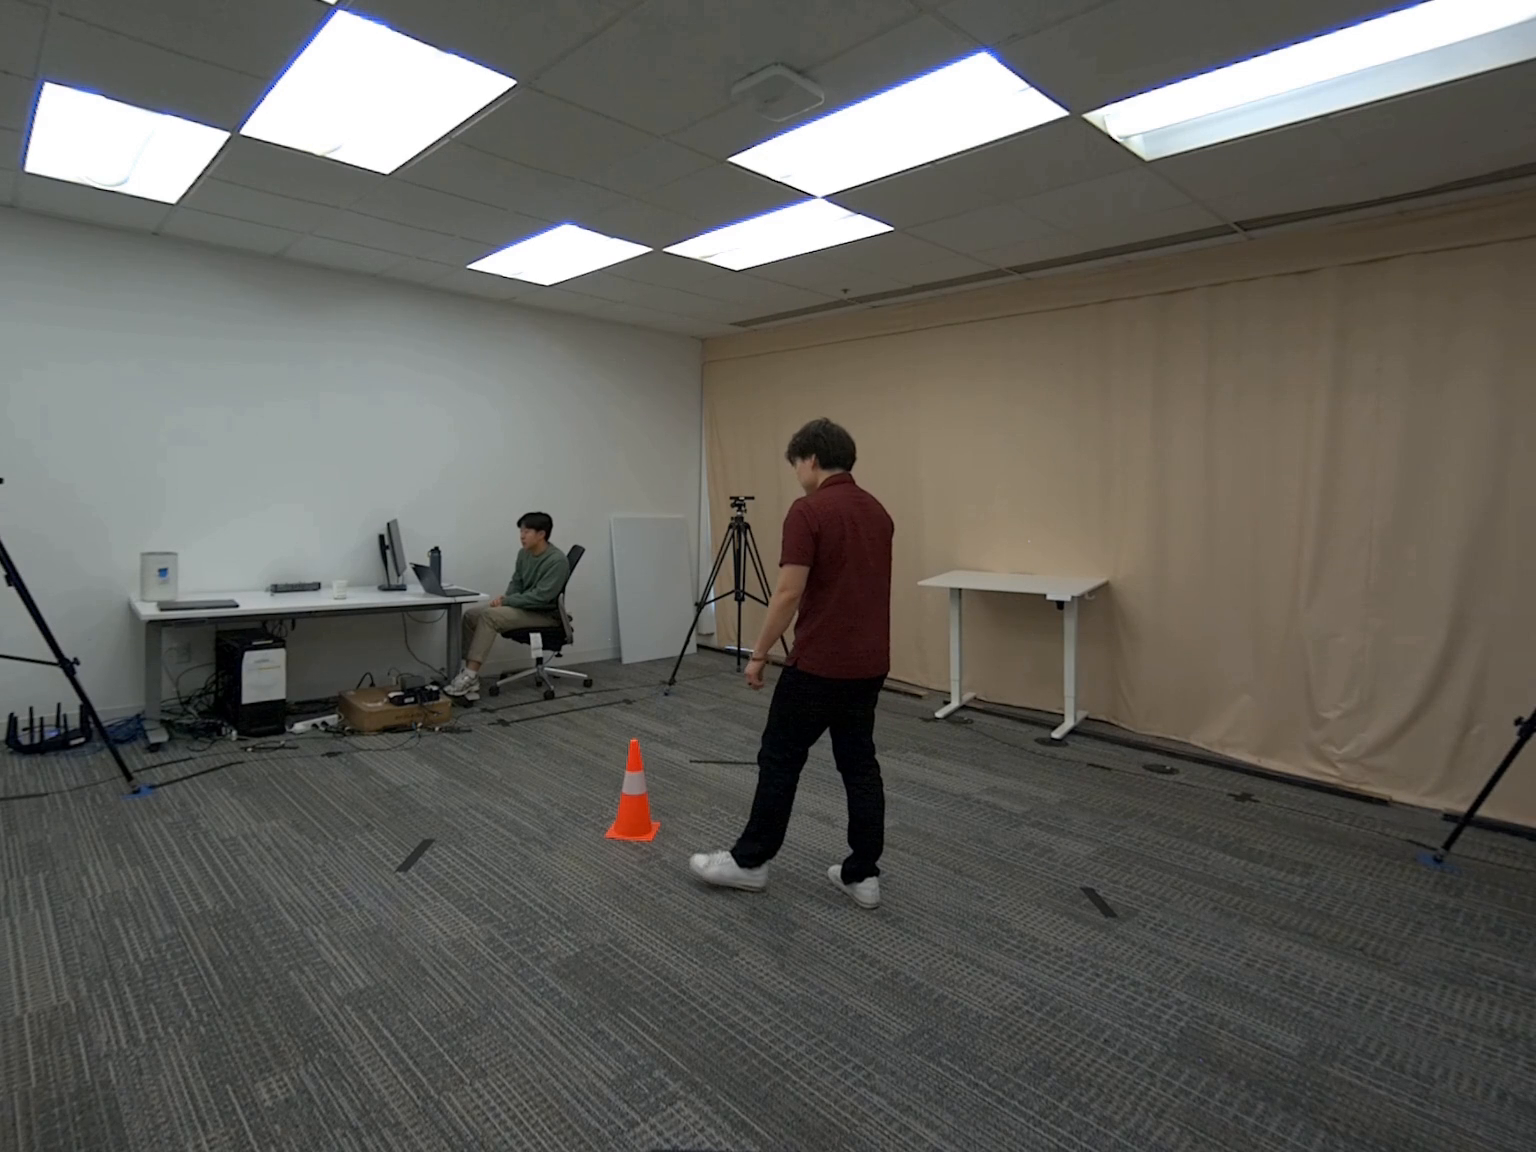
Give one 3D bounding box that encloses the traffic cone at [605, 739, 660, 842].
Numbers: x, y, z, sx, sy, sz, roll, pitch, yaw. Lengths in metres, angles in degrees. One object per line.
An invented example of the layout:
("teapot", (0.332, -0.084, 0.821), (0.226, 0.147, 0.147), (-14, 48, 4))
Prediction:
("traffic cone", (-0.572, 0.875, 3.498), (0.206, 0.383, 0.202), (2, 3, 7))
